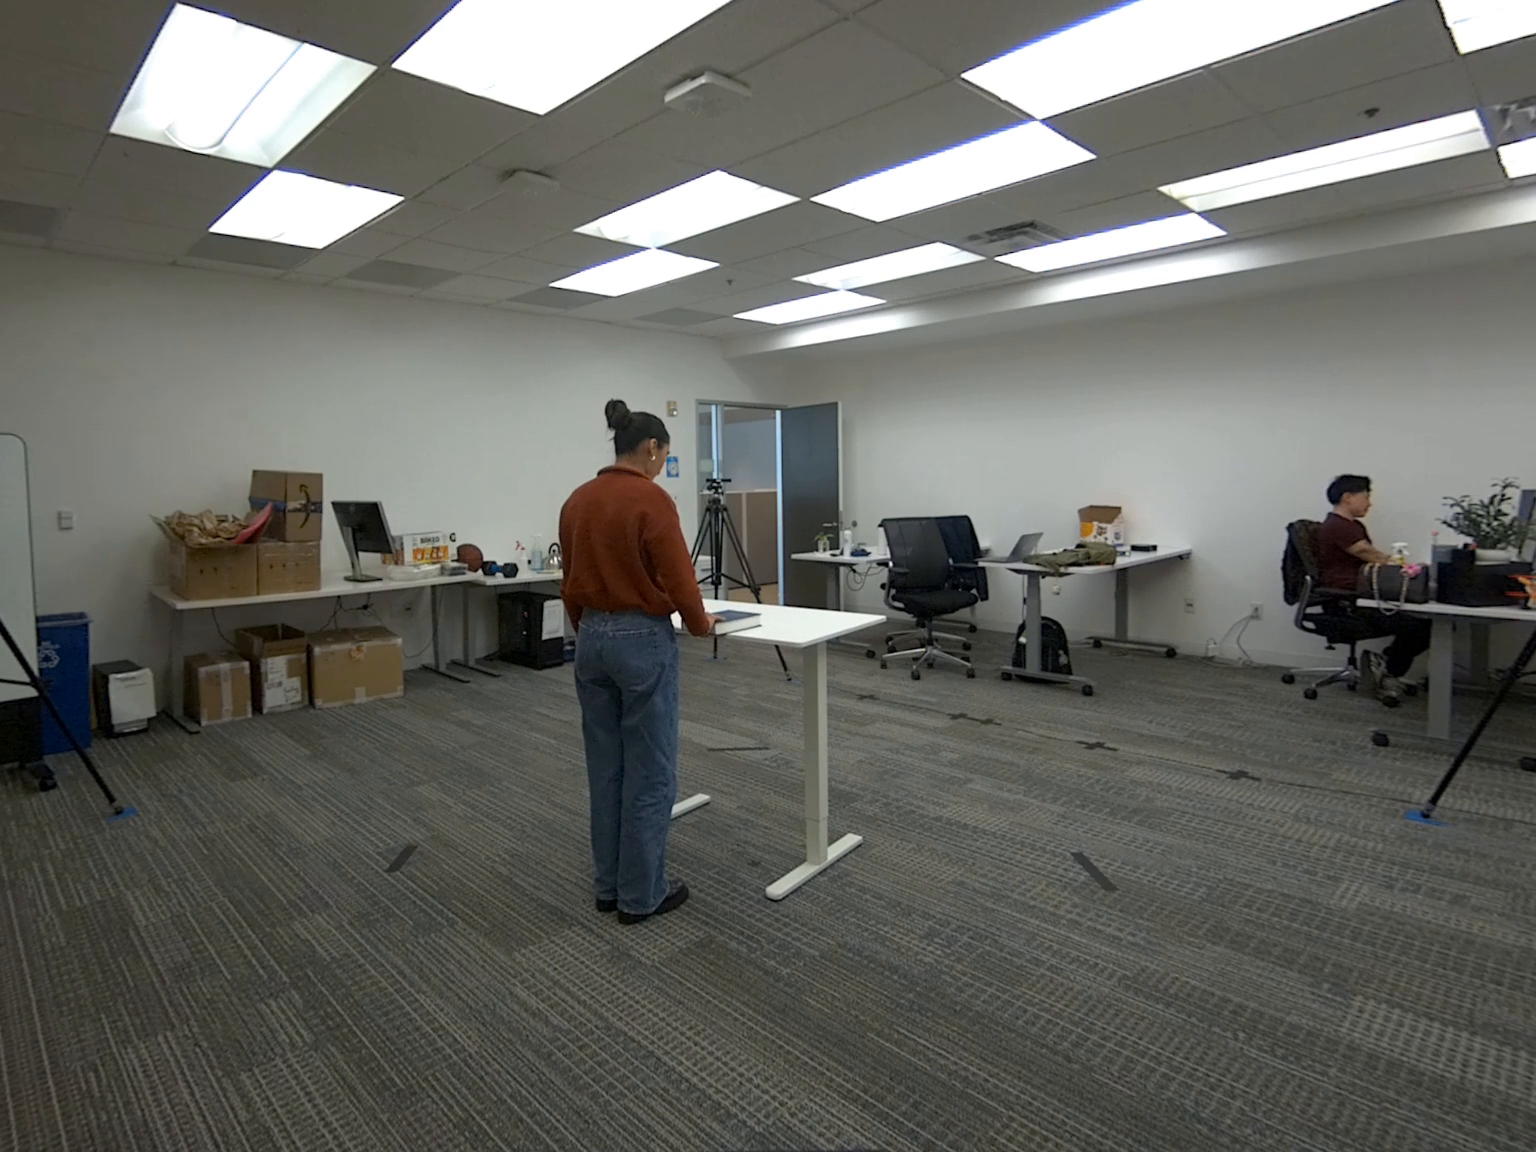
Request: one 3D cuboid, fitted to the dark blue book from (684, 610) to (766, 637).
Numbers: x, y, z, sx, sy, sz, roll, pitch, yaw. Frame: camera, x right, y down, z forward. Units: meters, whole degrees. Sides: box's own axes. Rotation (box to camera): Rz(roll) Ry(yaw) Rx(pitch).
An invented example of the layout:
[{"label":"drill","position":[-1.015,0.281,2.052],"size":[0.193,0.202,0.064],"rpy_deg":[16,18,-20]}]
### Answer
[{"label":"dark blue book","position":[-0.149,0.160,2.951],"size":[0.168,0.045,0.239],"rpy_deg":[3,7,37]}]
